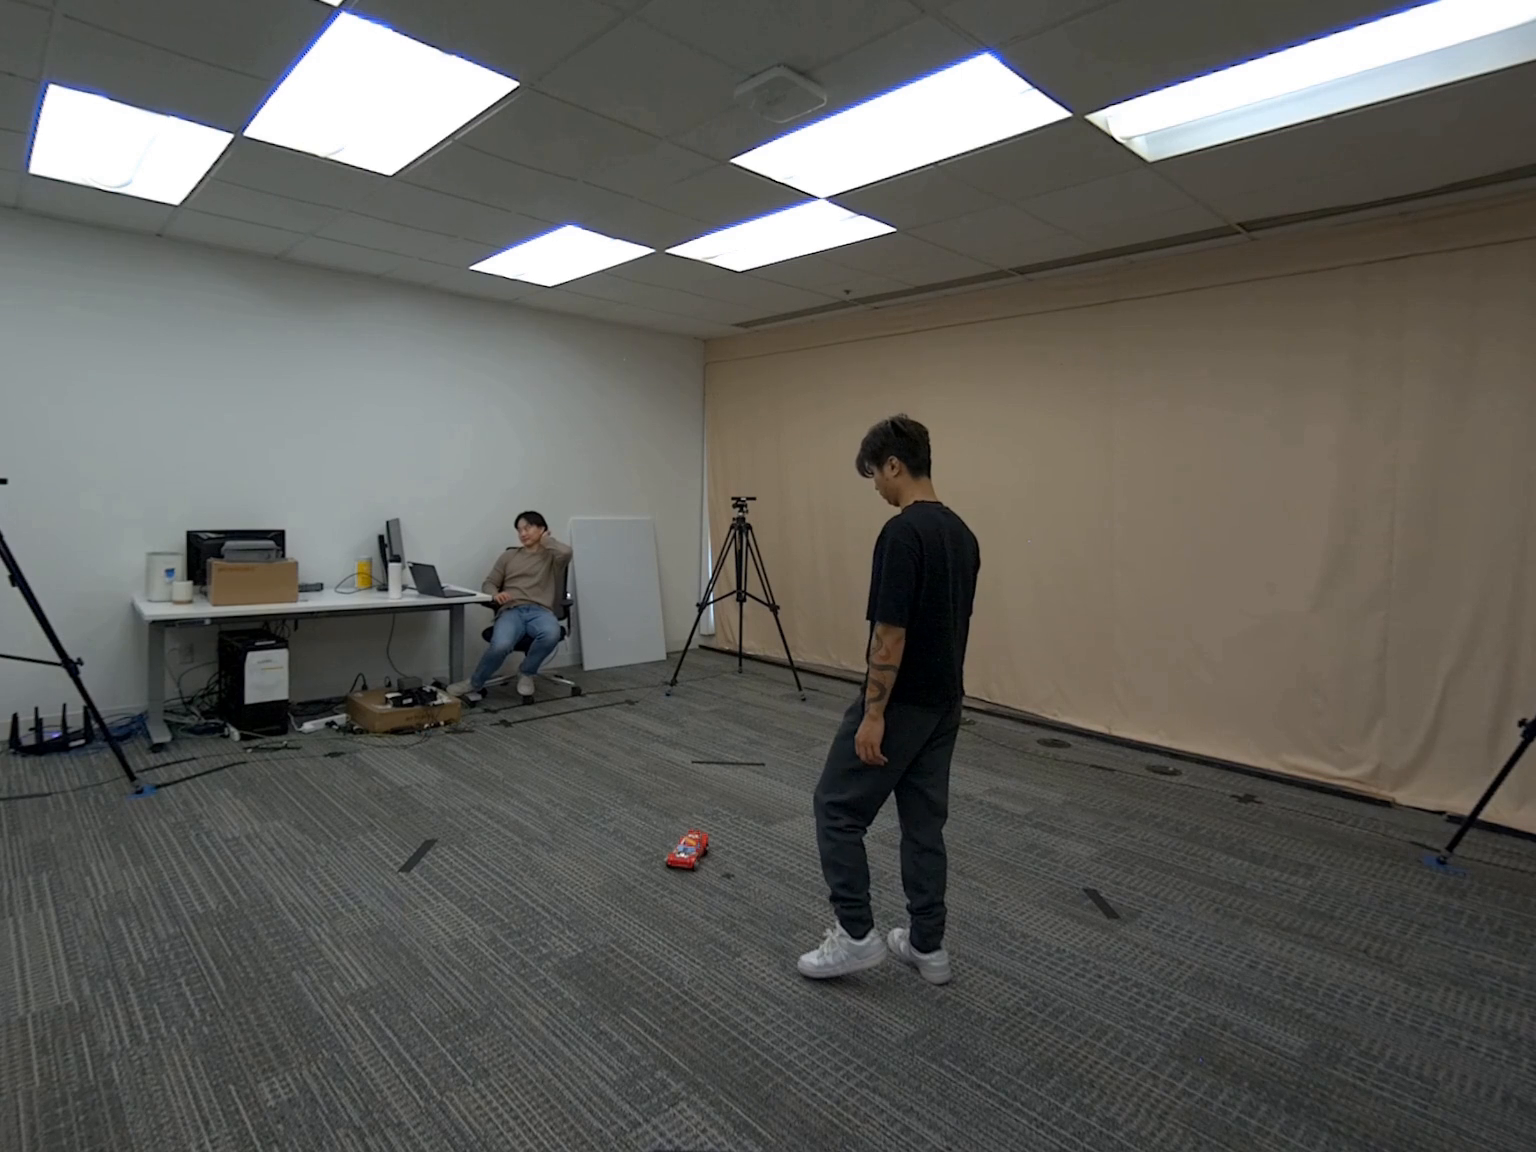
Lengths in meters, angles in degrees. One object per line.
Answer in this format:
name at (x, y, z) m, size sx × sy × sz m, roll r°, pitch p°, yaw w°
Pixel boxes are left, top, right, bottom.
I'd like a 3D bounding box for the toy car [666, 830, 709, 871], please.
toy car at (-0.309, 1.059, 3.242) m, size 0.132 × 0.082 × 0.254 m, roll 2°, pitch 15°, yaw 14°
